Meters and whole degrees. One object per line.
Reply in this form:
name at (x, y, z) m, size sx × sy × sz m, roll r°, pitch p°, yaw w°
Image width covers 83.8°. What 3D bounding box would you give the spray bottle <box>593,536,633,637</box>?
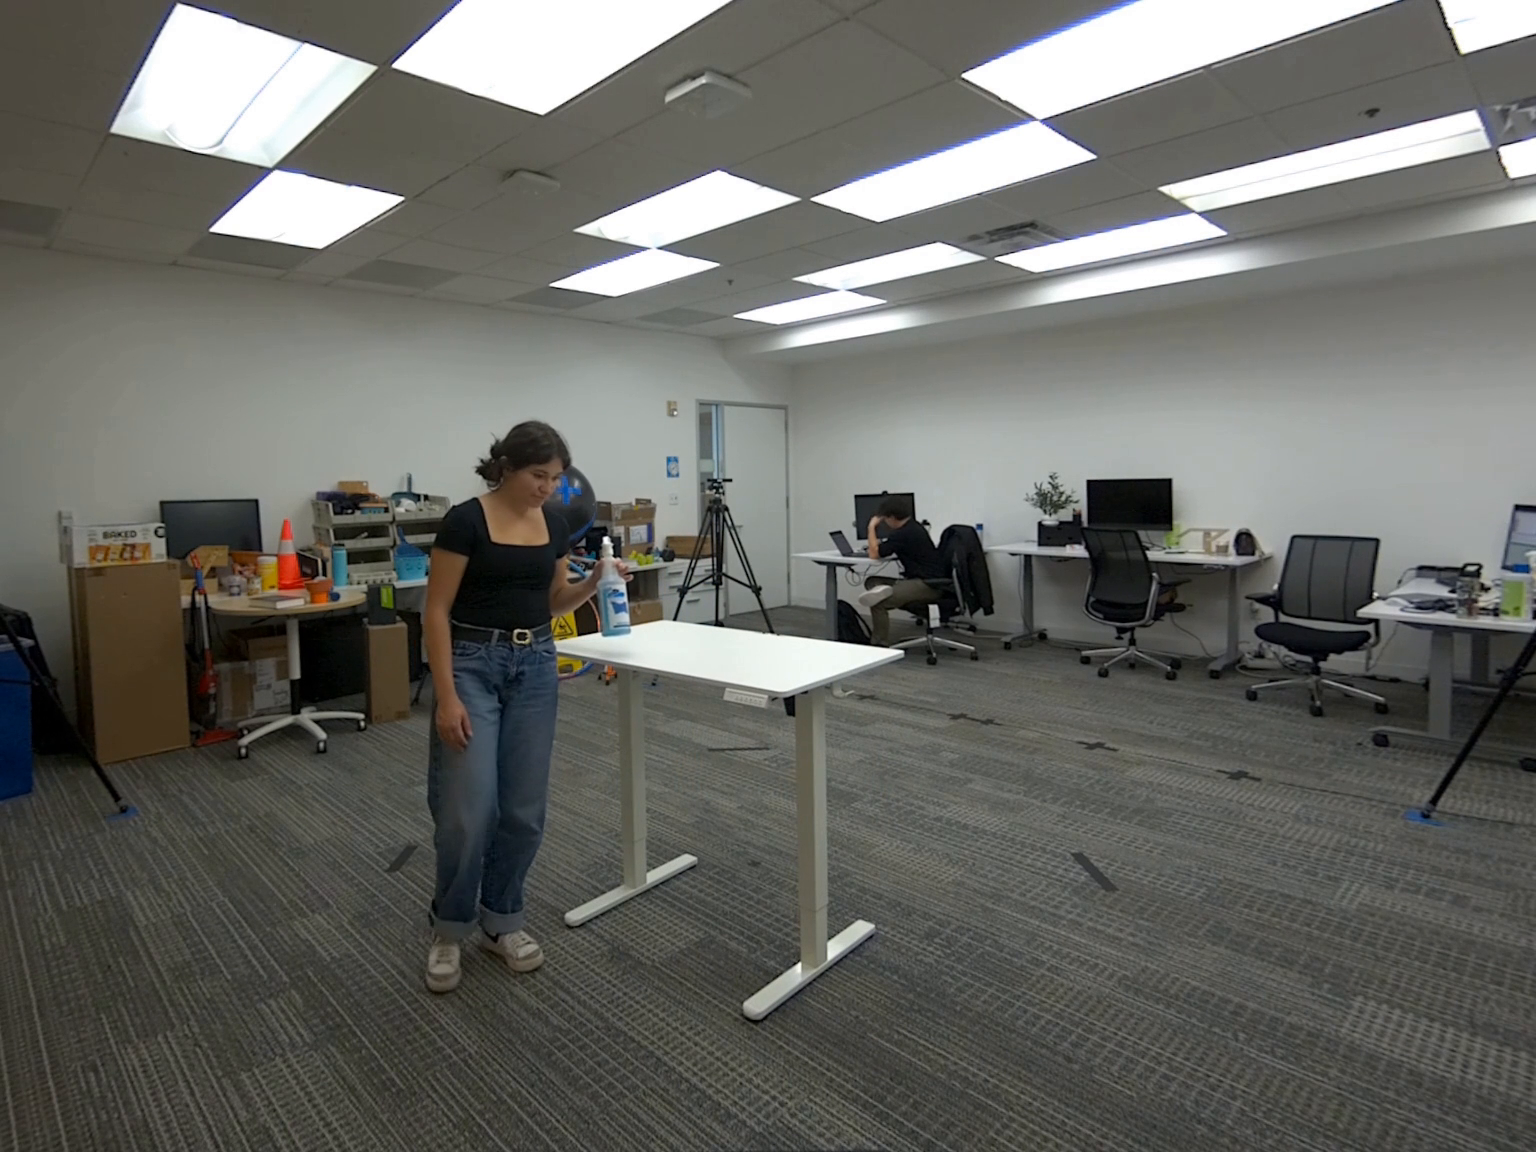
spray bottle at (-0.463, 0.029, 2.521) m, size 0.088 × 0.300 × 0.088 m, roll -10°, pitch -9°, yaw 22°
